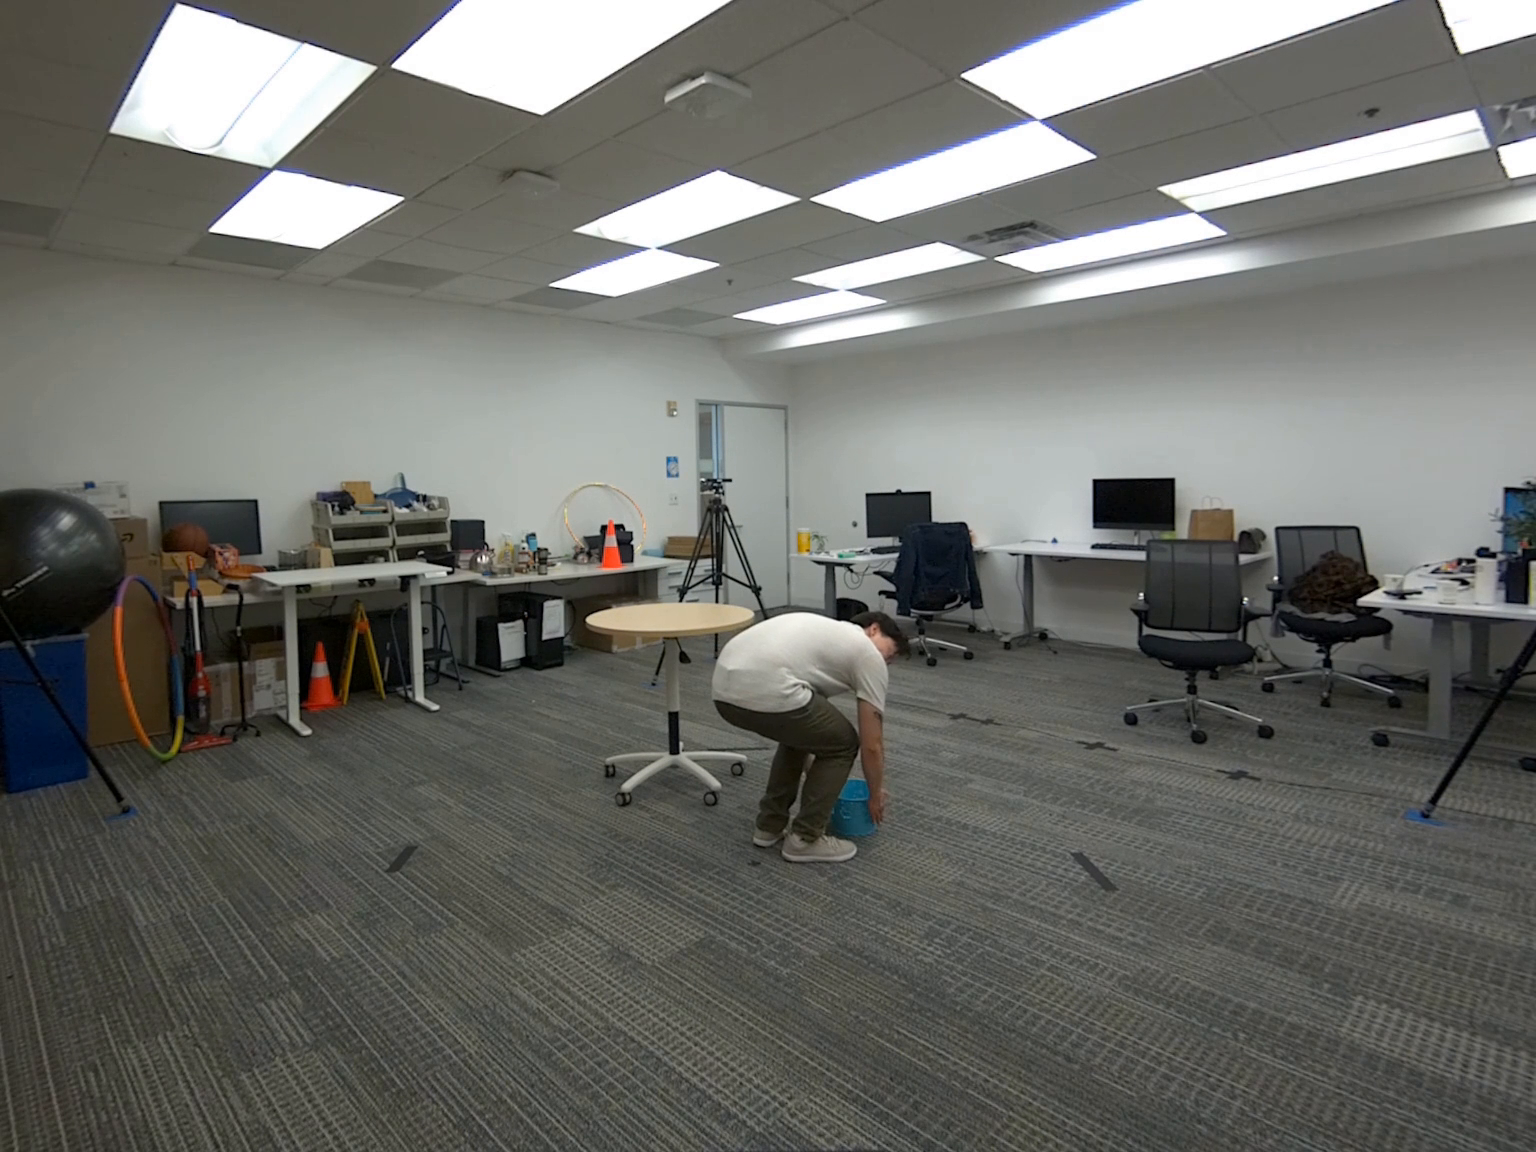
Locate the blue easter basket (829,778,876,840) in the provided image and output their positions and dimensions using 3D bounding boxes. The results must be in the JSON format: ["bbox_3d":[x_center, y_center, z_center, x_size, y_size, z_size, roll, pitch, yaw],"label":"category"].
[{"bbox_3d":[0.343,0.919,3.419,0.243,0.155,0.245,-1,6,-2],"label":"blue easter basket"}]
